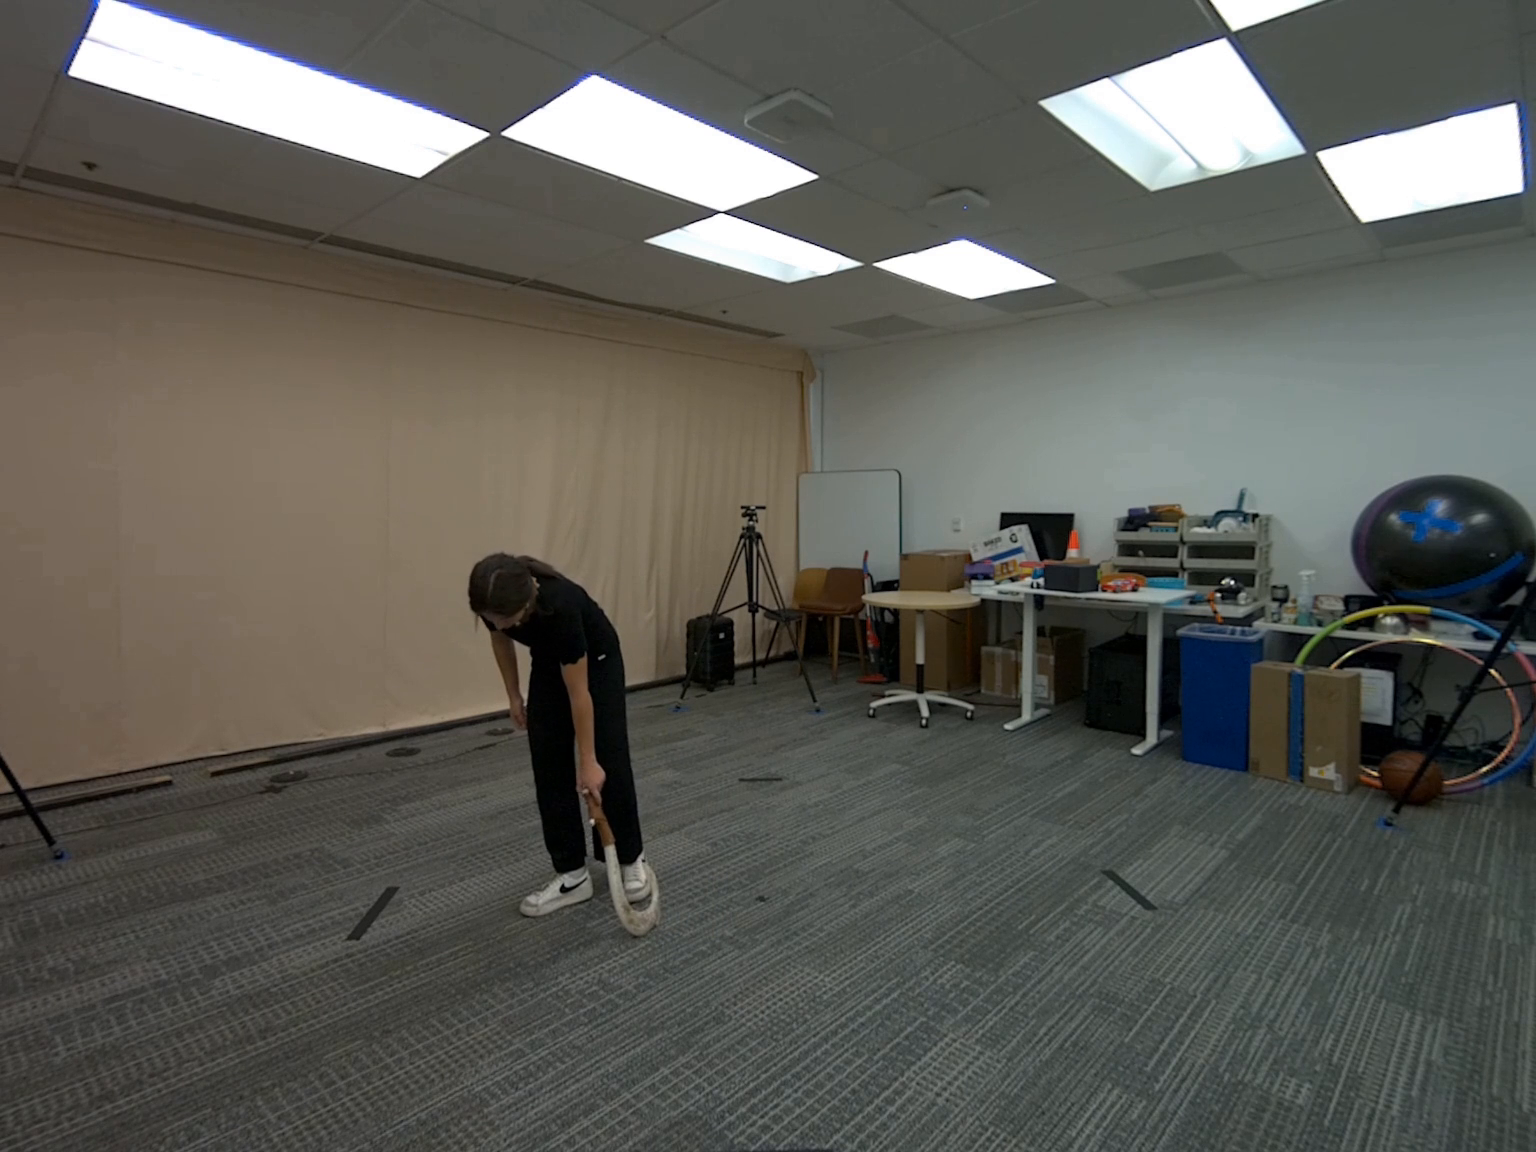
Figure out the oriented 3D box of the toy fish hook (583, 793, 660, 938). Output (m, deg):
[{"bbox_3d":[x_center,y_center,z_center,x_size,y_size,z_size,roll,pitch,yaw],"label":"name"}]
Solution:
[{"bbox_3d":[-0.479,0.933,2.805,0.049,0.511,0.219,-24,-9,22],"label":"toy fish hook"}]
